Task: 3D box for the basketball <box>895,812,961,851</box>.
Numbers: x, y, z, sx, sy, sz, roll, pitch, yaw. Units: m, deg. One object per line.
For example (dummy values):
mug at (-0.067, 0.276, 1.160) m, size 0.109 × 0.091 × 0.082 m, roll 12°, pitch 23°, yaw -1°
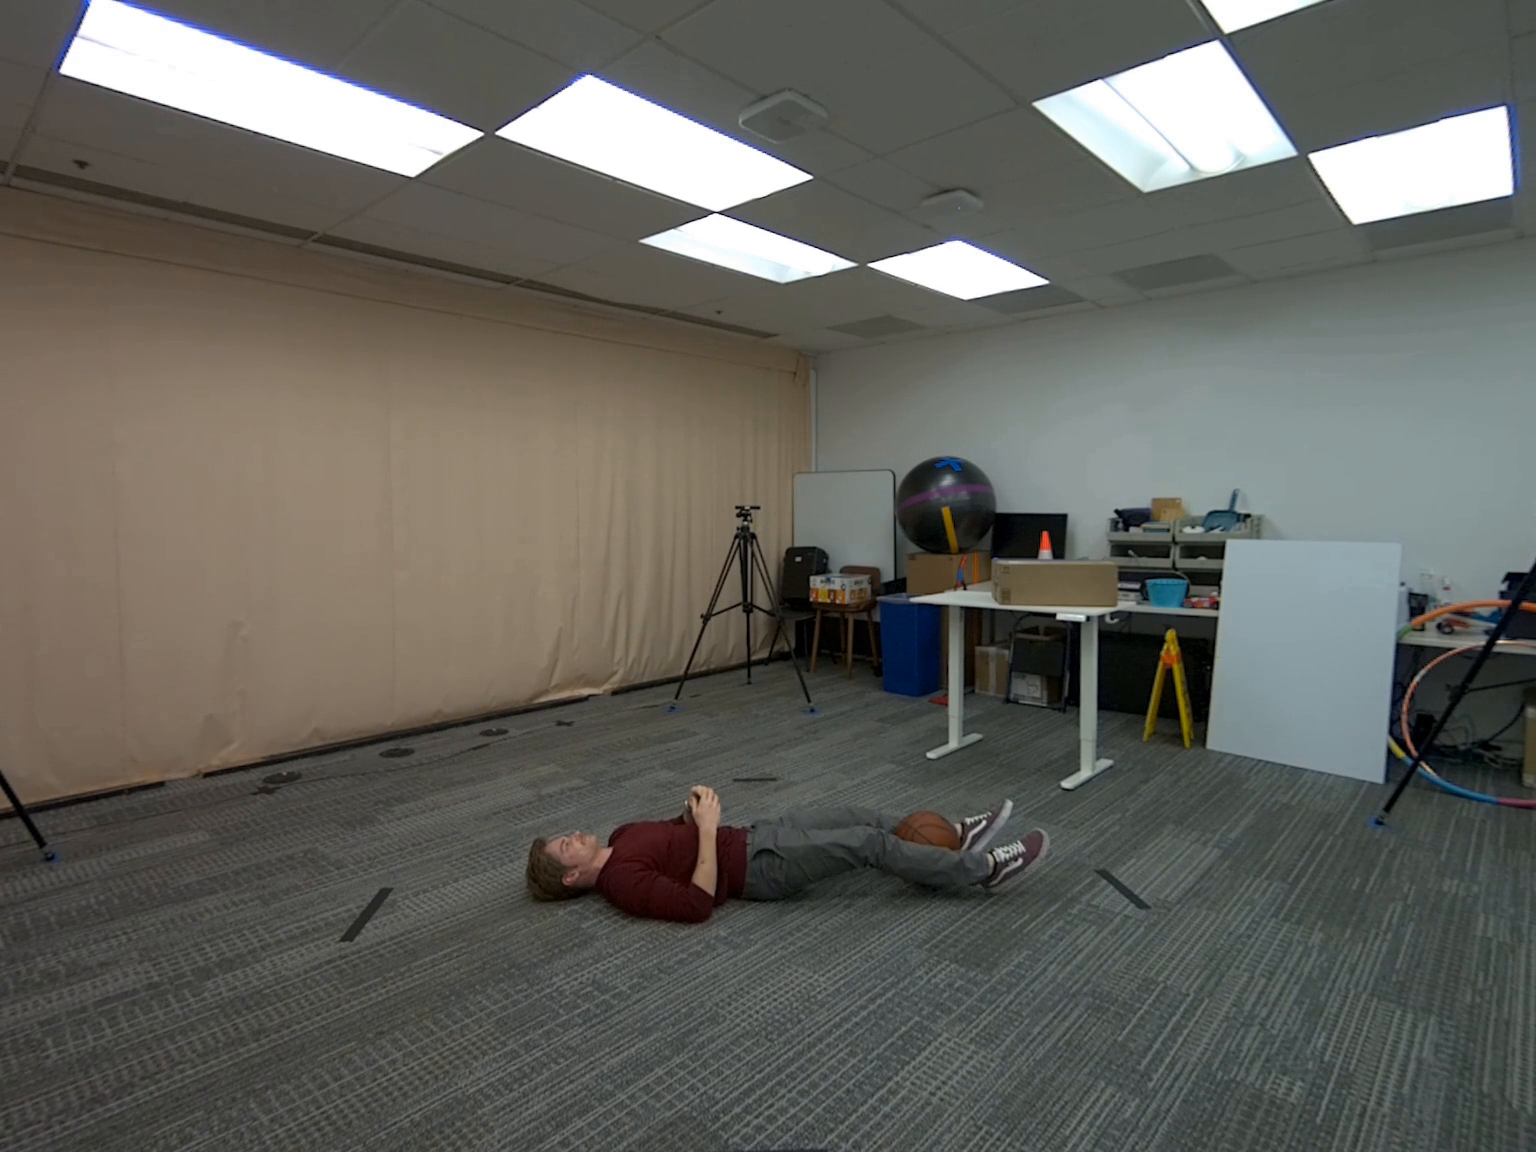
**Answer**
basketball at (0.590, 0.982, 3.125) m, size 0.236 × 0.235 × 0.237 m, roll 0°, pitch 4°, yaw -2°
